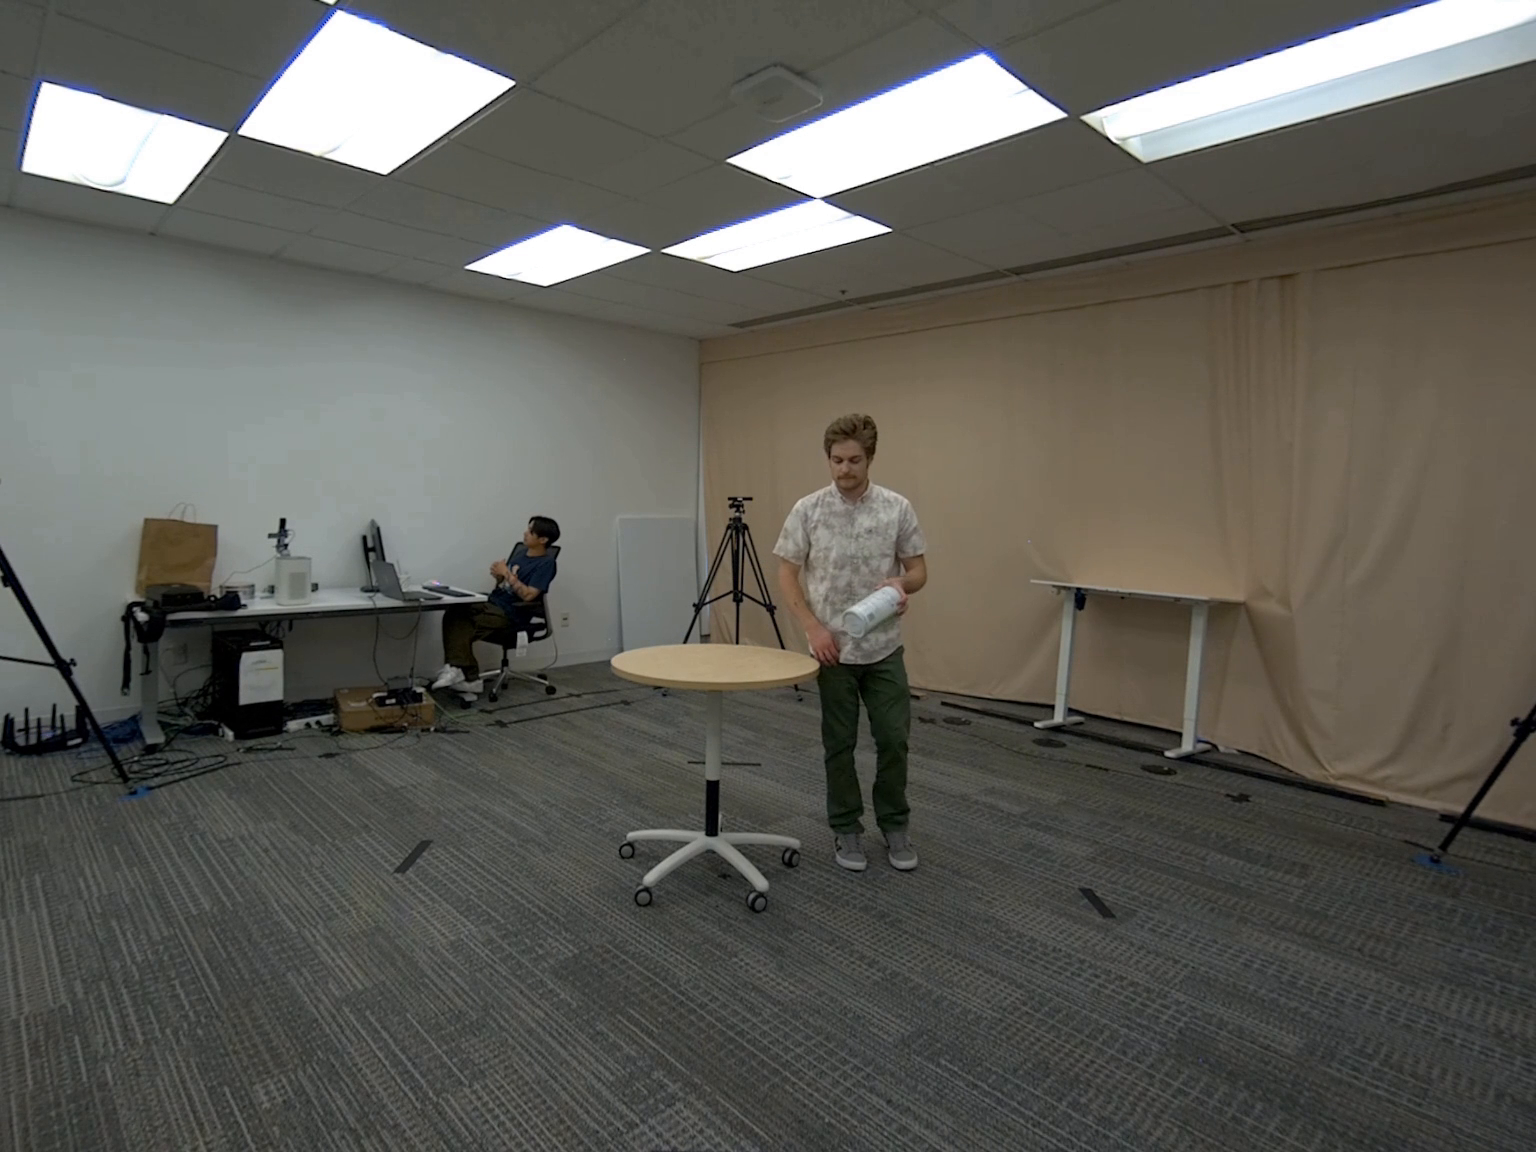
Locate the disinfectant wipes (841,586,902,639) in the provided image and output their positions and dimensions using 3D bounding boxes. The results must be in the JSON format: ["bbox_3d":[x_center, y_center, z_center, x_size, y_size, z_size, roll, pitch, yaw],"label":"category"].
[{"bbox_3d":[0.356,0.127,2.913,0.215,0.116,0.121,-30,23,-36],"label":"disinfectant wipes"}]
